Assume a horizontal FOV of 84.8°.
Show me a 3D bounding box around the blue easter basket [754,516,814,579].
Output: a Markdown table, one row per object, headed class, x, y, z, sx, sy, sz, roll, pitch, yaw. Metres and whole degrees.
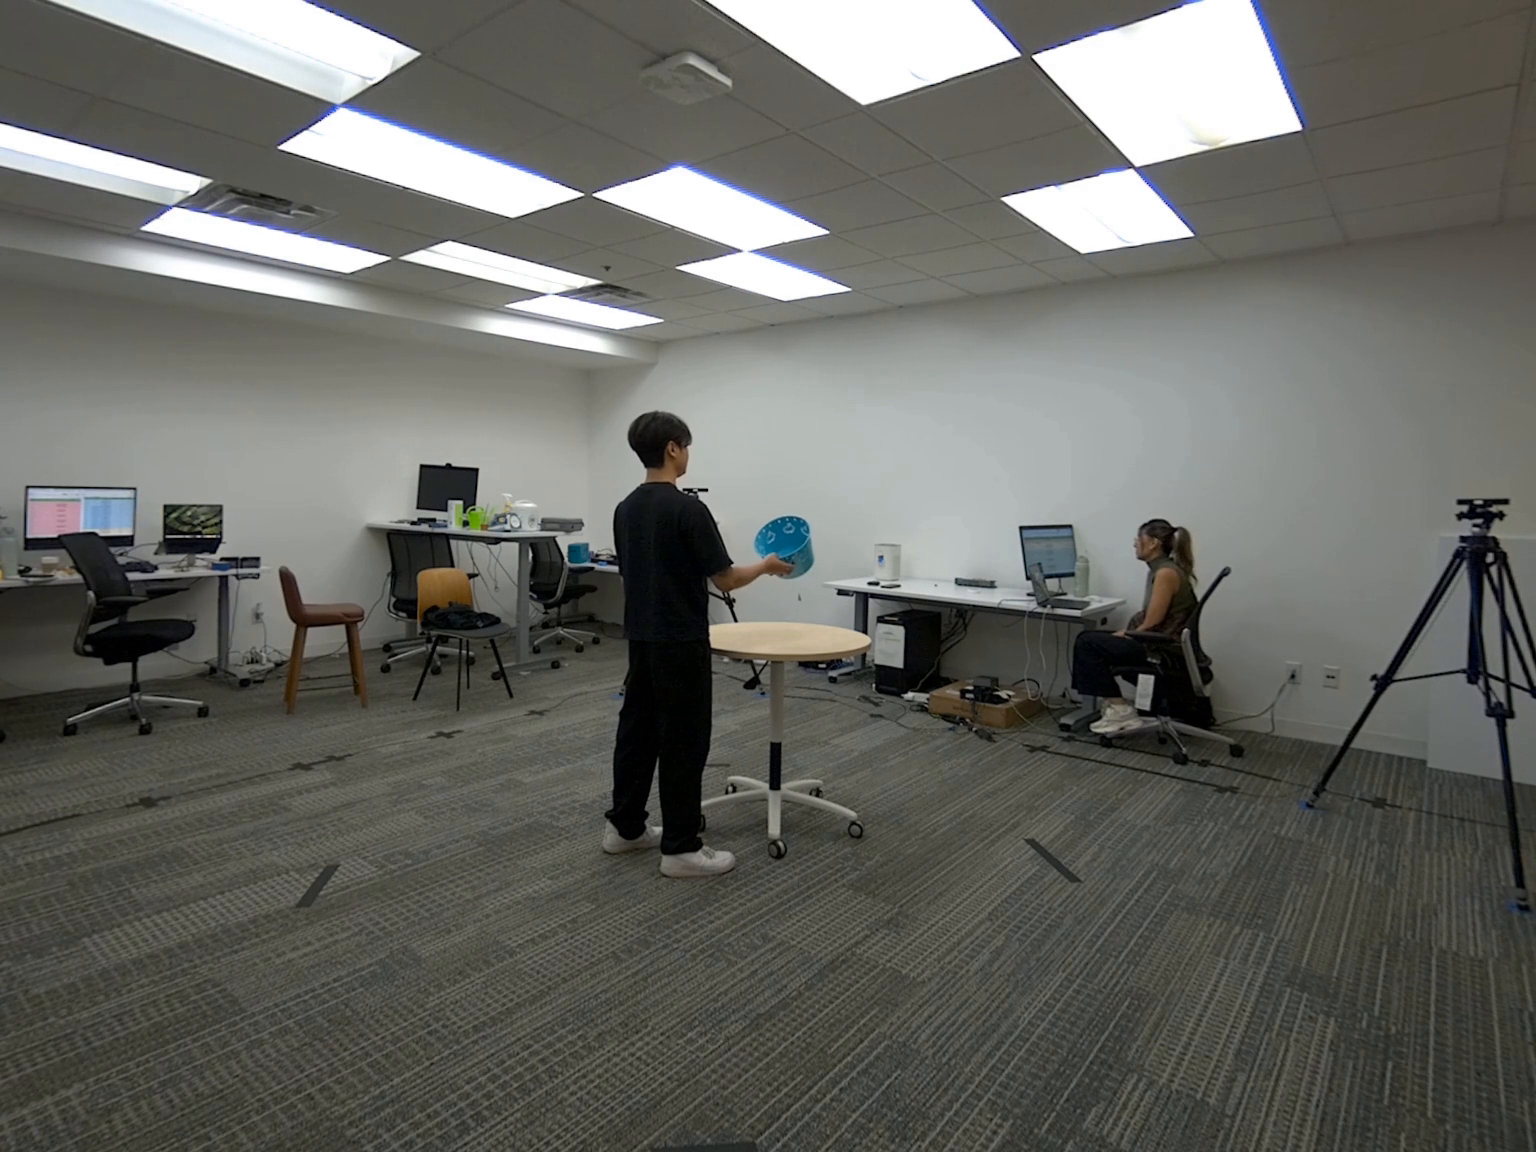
| class | x | y | z | sx | sy | sz | roll | pitch | yaw |
| --- | --- | --- | --- | --- | --- | --- | --- | --- | --- |
| blue easter basket | 0.061 | -0.103 | 3.390 | 0.246 | 0.150 | 0.251 | -15 | 44 | 13 |
